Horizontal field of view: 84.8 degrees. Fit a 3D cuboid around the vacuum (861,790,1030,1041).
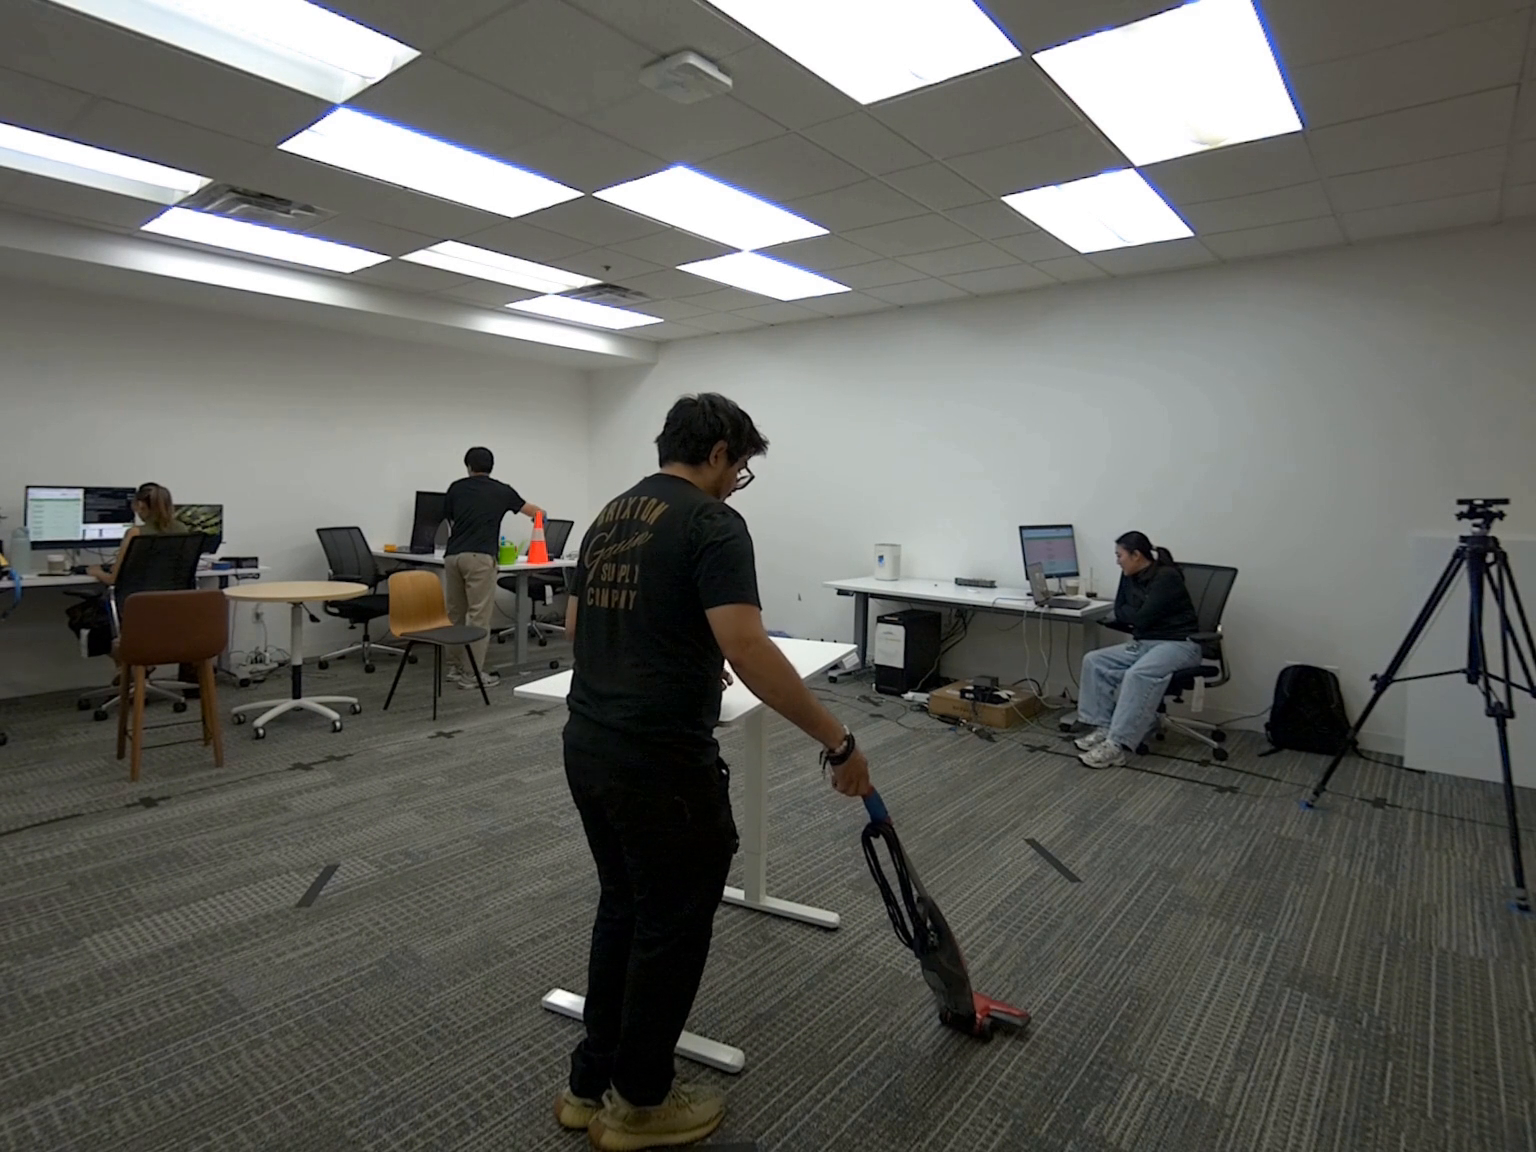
[{"bbox_3d":[0.337,0.775,1.983,0.261,1.012,0.144,5,45,41],"label":"vacuum"}]
